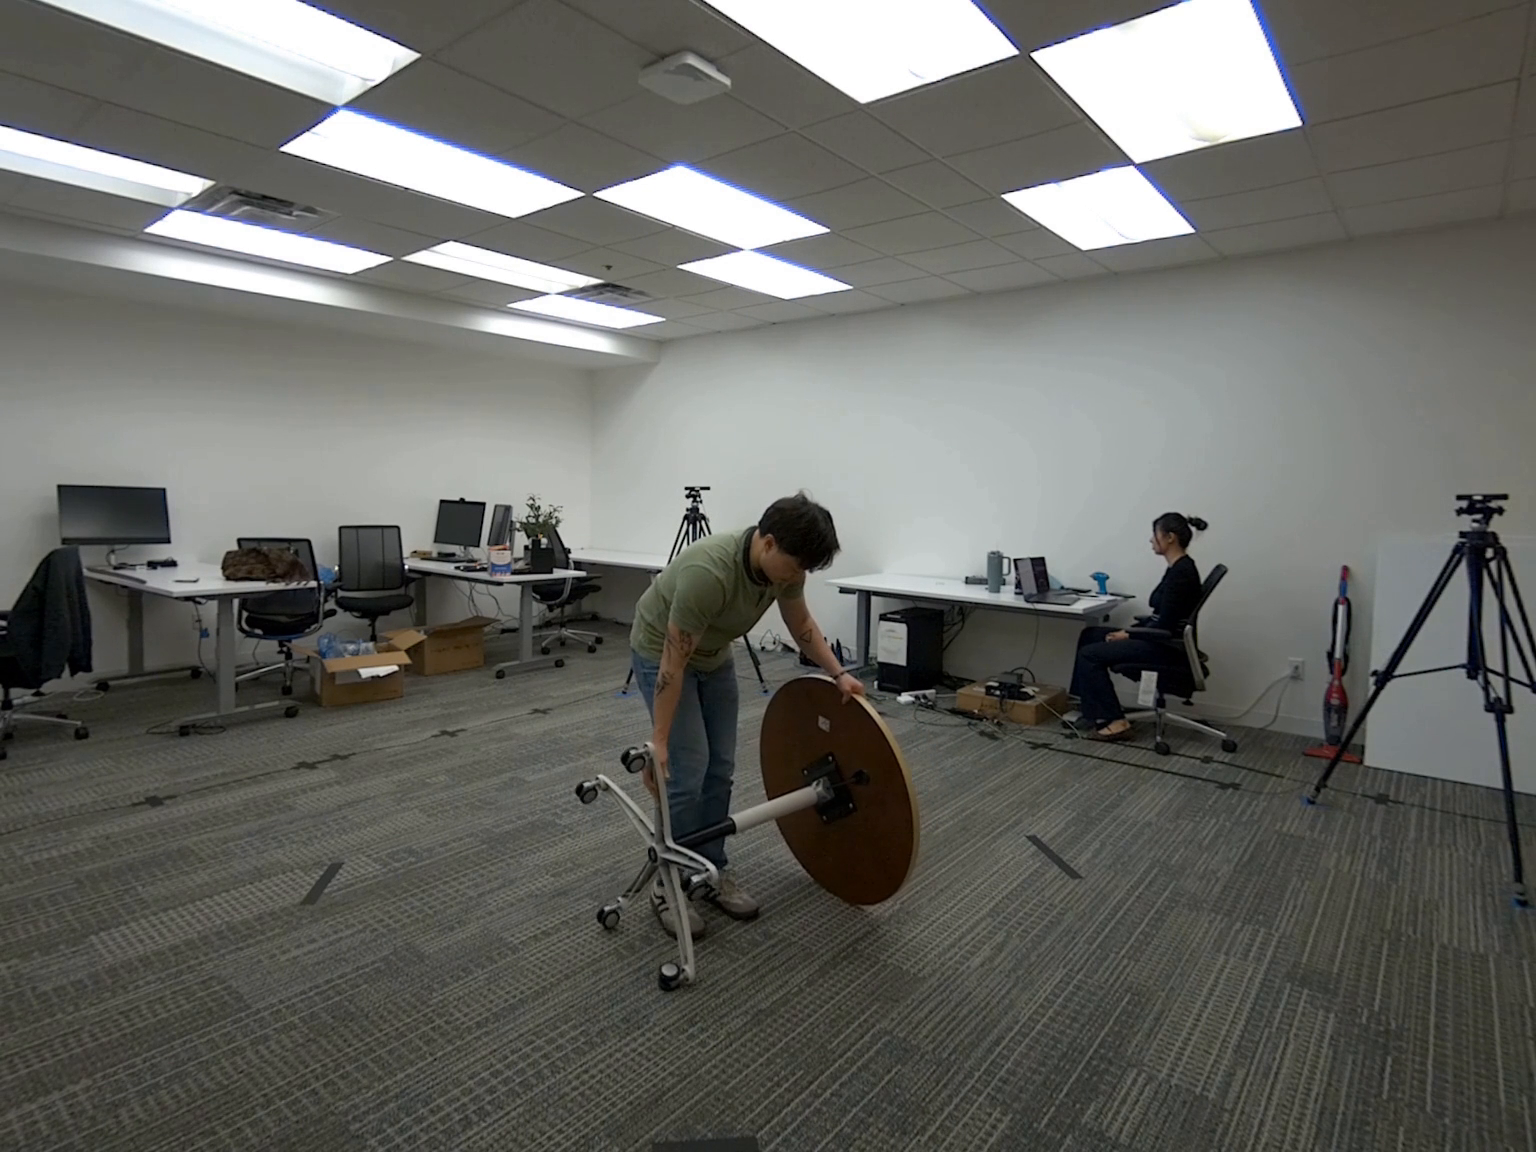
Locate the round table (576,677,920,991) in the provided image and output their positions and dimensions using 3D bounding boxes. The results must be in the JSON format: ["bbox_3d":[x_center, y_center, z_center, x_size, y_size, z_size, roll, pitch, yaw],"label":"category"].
[{"bbox_3d":[-0.095,0.775,2.660,0.774,0.758,0.789,-10,10,-35],"label":"round table"}]
